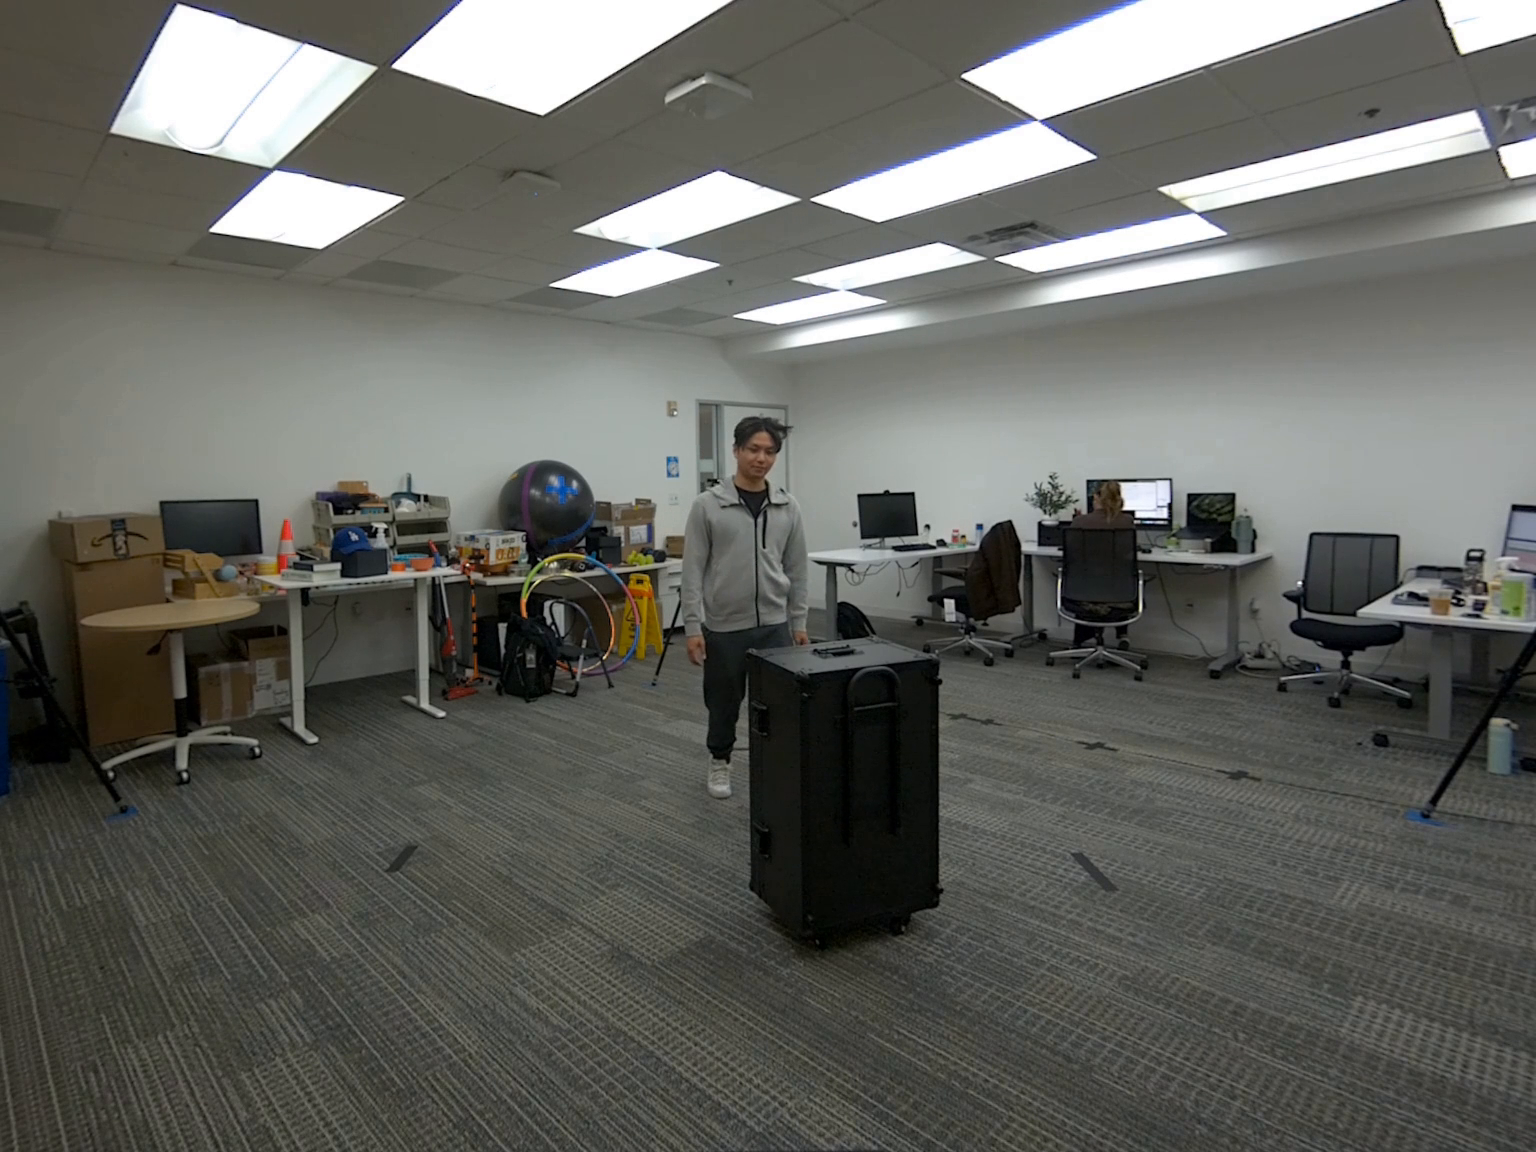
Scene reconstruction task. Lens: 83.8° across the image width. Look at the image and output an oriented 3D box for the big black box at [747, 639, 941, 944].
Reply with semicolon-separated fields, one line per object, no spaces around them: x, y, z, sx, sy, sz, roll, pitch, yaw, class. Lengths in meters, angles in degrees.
0.244;0.667;2.668;0.510;0.857;0.406;-3;6;-25;big black box
